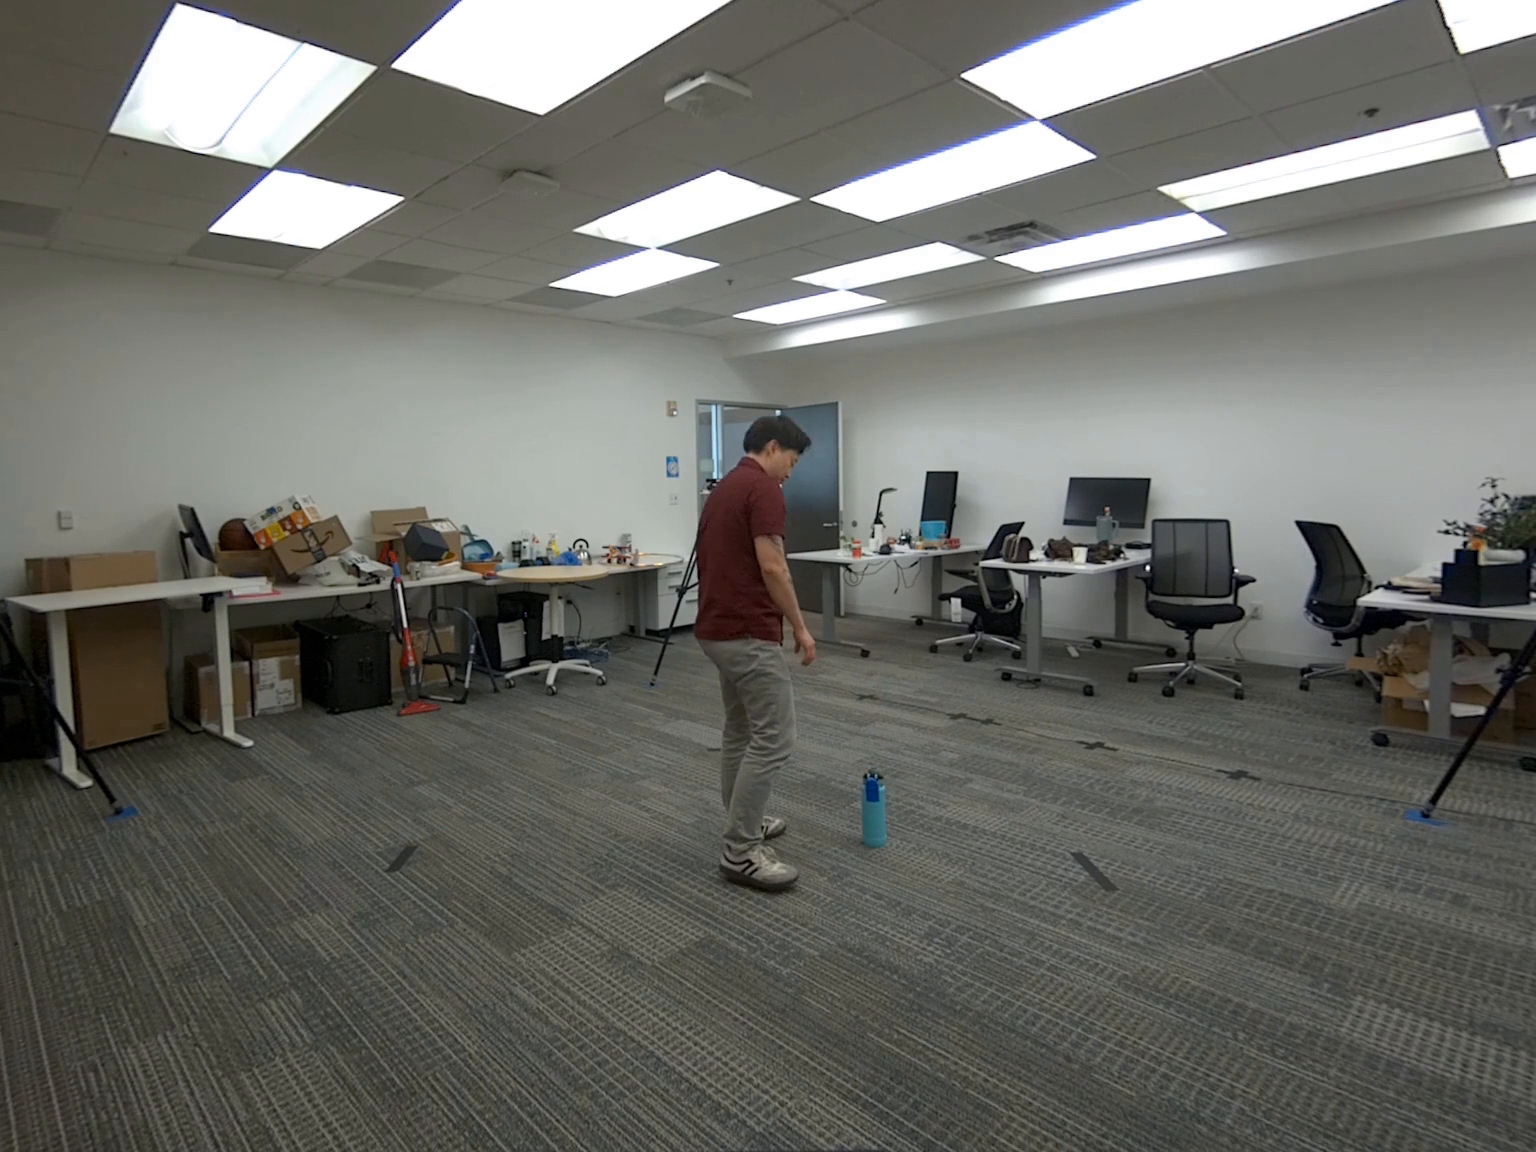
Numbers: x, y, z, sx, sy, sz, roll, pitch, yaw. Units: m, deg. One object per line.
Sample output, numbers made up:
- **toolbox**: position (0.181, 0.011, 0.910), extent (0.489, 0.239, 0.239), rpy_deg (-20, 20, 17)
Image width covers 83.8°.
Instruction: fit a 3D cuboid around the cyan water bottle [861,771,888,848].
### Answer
- **cyan water bottle**: position (0.399, 0.875, 3.253), extent (0.092, 0.282, 0.092), rpy_deg (-3, 3, -1)
